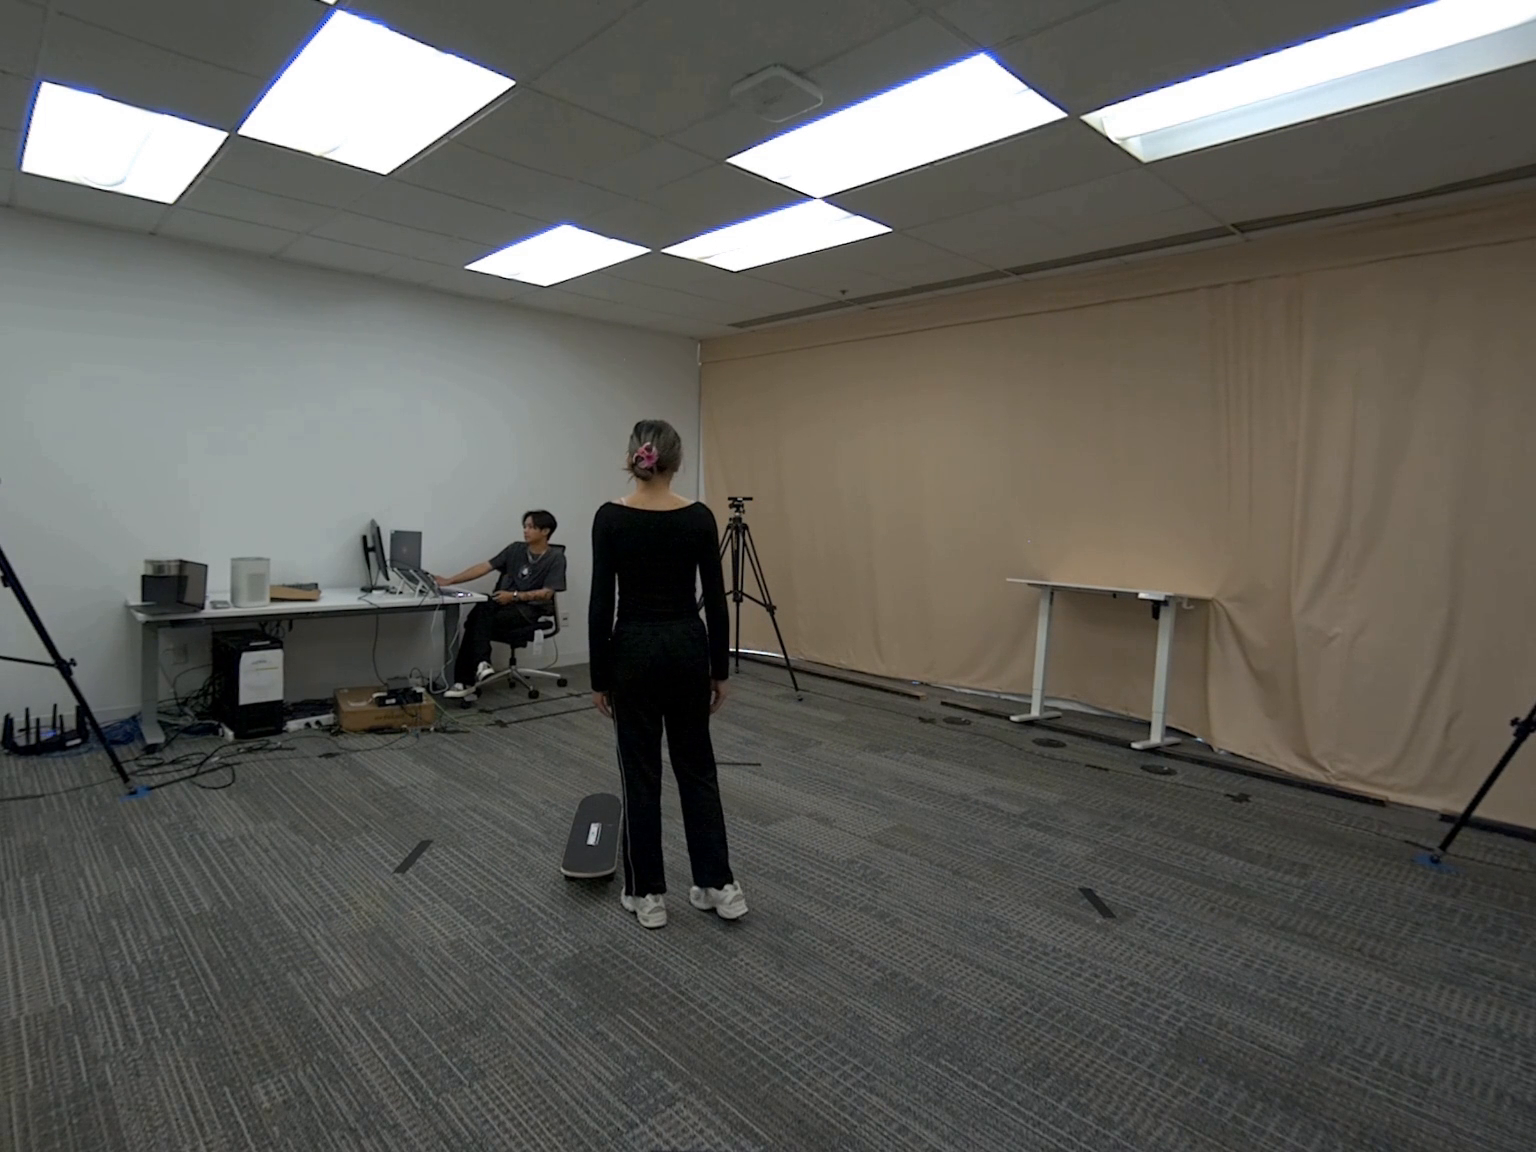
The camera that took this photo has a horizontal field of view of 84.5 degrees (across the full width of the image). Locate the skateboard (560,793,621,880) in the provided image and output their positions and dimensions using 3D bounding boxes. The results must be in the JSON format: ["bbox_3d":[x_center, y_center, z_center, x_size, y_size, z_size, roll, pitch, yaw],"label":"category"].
[{"bbox_3d":[-0.683,1.030,3.248,0.192,0.110,0.791,1,5,-6],"label":"skateboard"}]
